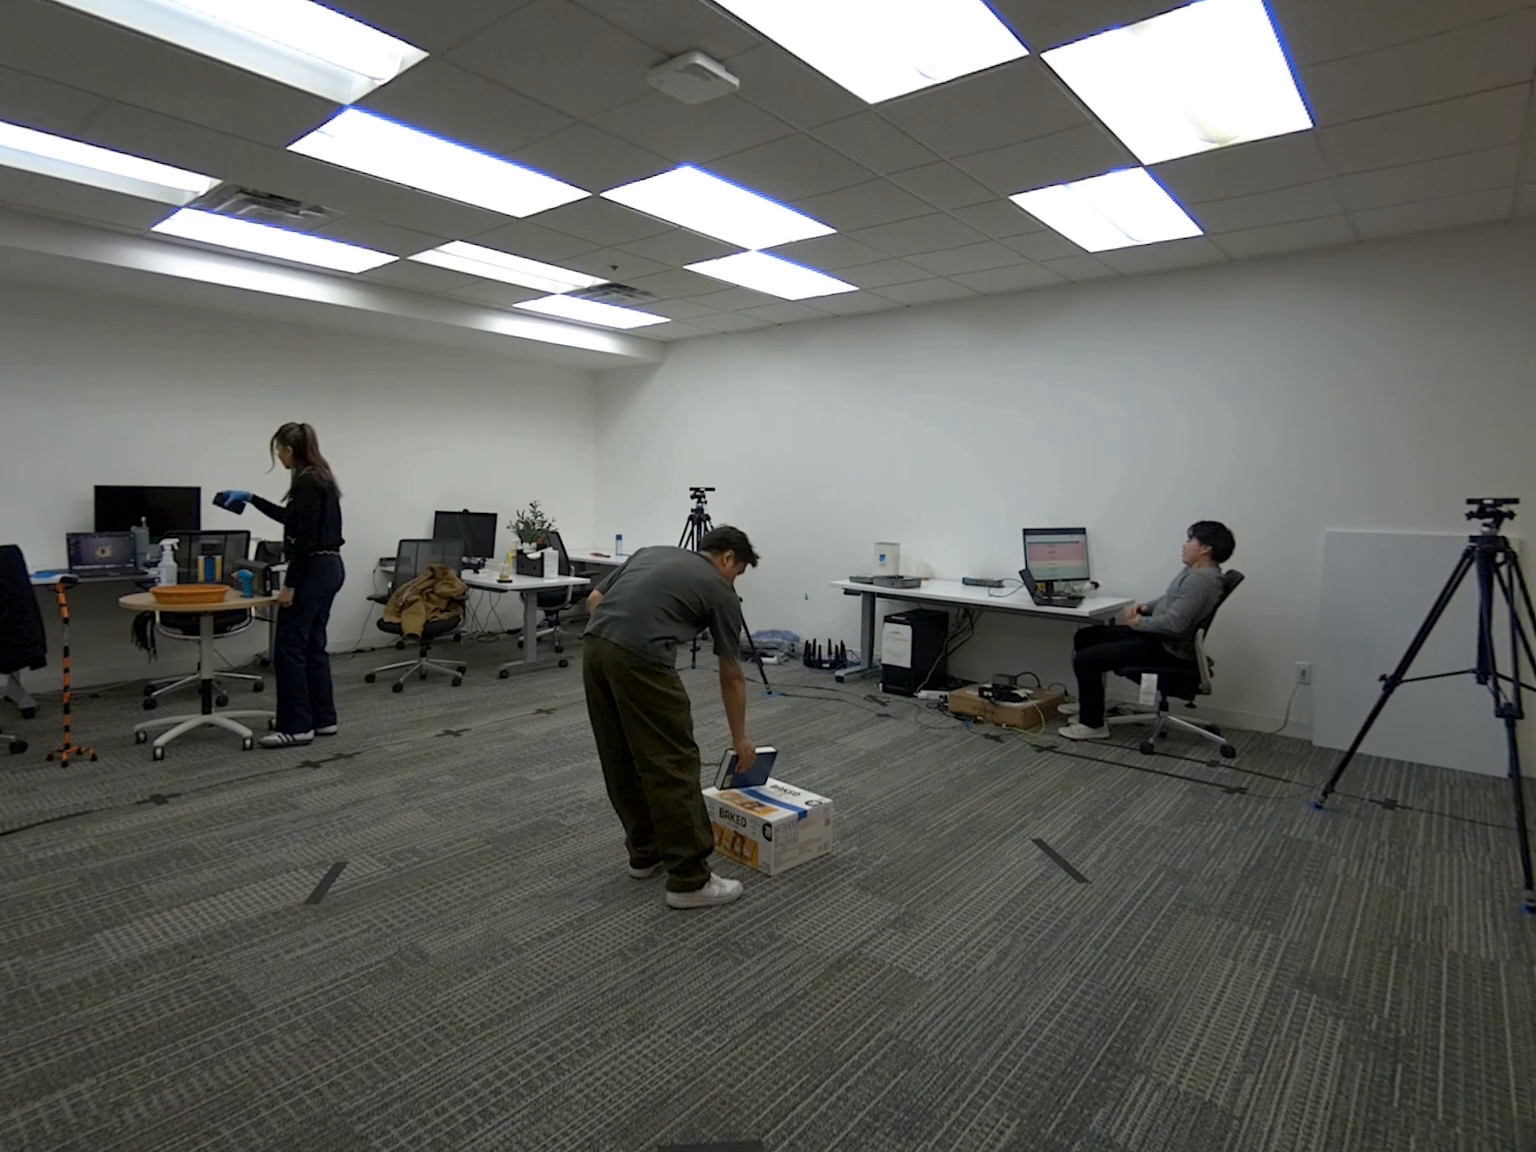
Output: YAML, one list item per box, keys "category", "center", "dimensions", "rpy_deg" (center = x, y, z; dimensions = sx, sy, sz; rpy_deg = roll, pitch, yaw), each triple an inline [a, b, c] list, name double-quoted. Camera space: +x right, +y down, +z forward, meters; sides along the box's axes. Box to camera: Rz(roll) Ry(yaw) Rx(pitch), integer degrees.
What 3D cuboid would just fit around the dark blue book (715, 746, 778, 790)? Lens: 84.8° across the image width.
- category: "dark blue book"
  center: [-0.095, 0.743, 3.313]
  dimensions: [0.237, 0.162, 0.047]
  rpy_deg: [6, 17, -42]
